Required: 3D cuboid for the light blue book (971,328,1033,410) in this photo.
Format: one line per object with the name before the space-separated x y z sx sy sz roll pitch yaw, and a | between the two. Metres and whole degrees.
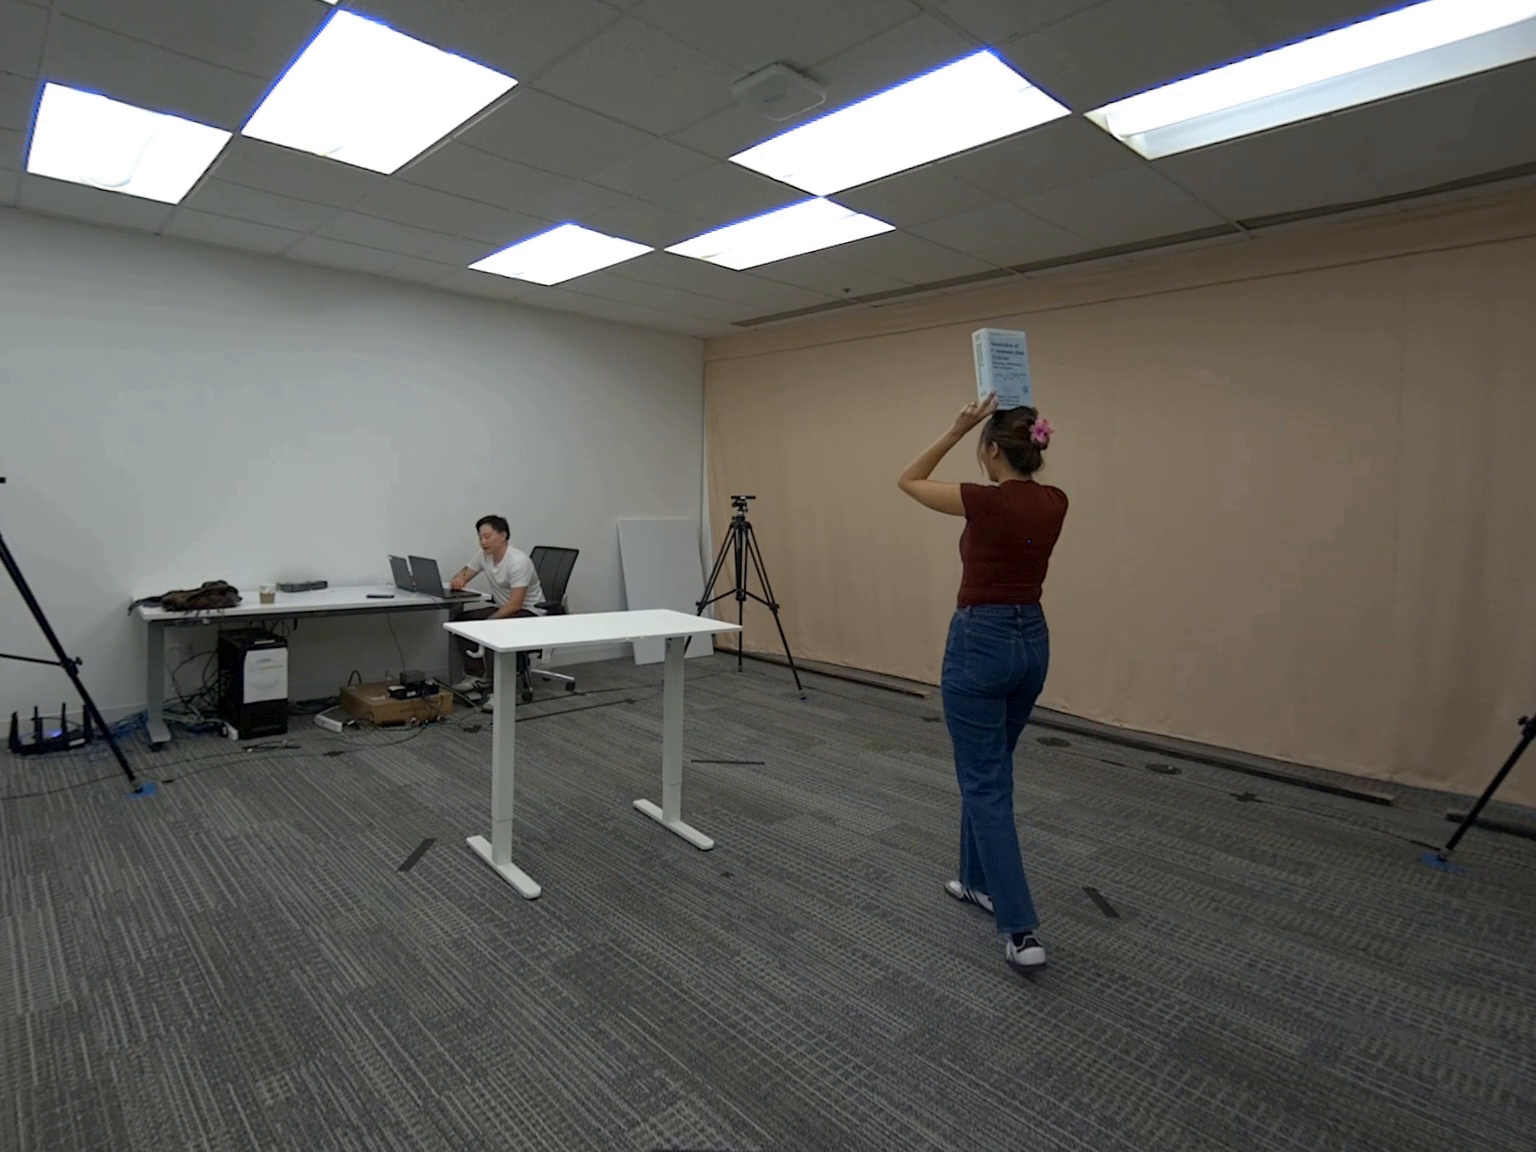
light blue book | 0.754 -0.655 2.718 0.188 0.262 0.060 -4 -4 -29
